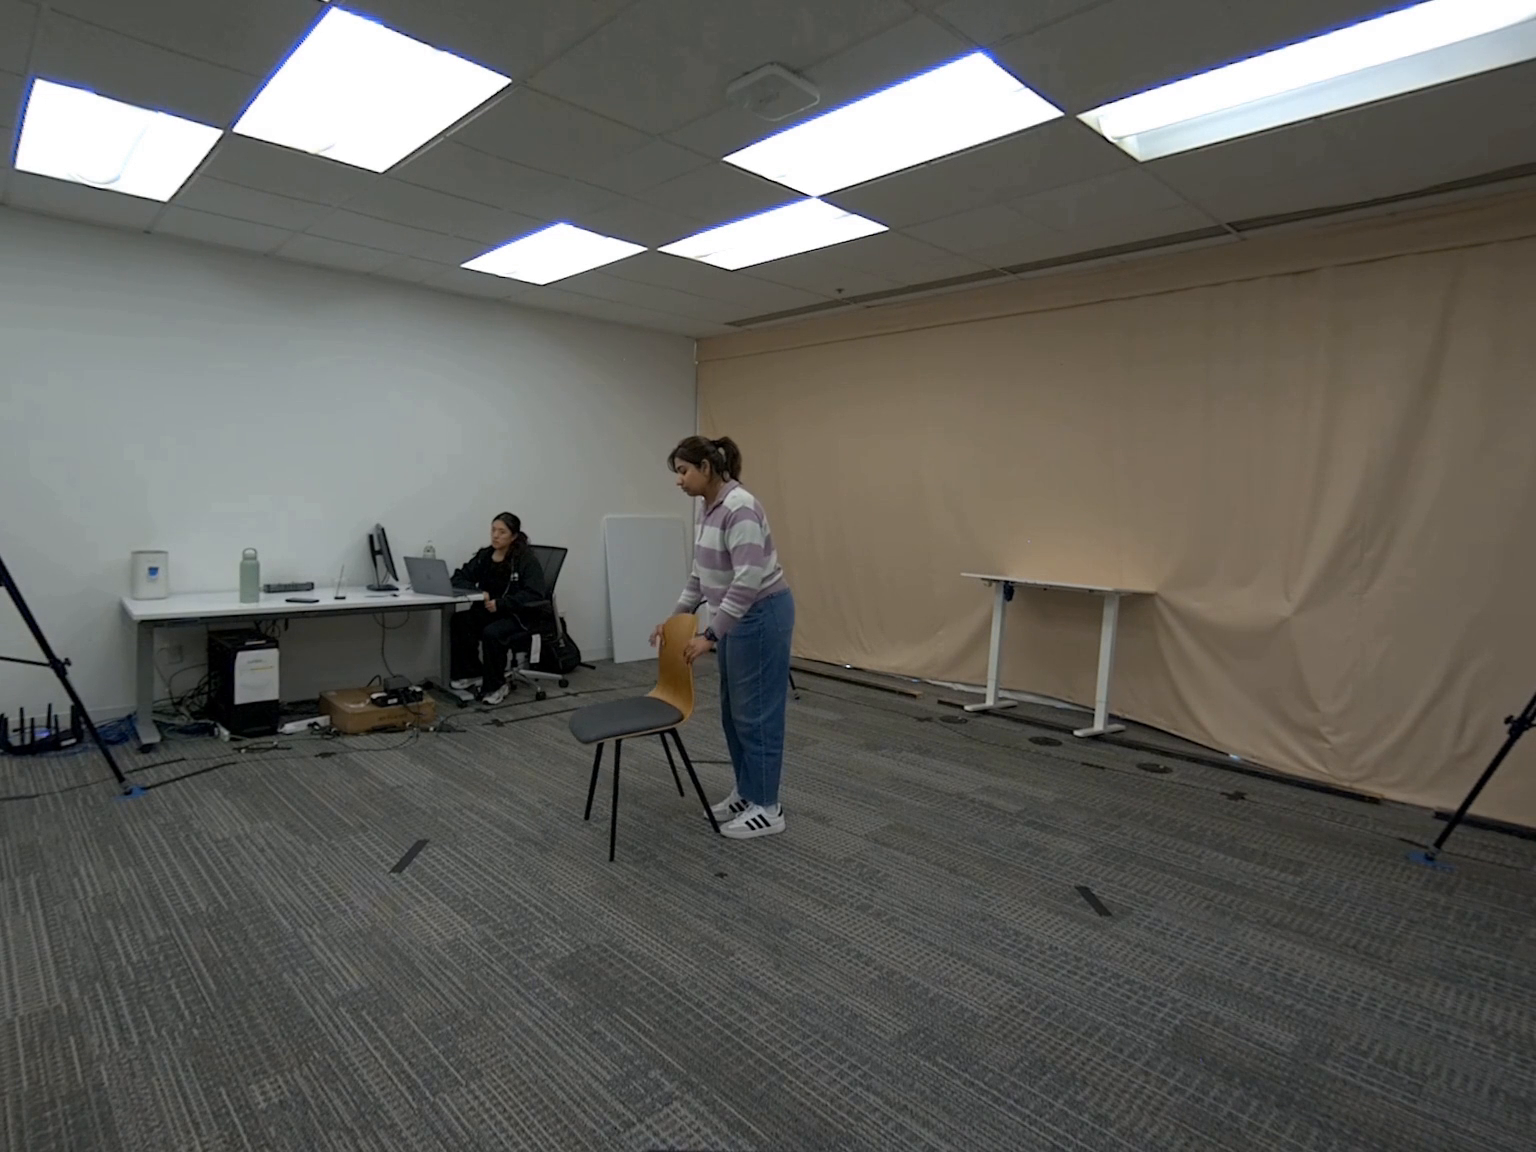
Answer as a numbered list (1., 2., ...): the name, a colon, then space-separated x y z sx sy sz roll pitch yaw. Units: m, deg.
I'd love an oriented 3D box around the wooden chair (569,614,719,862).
1. wooden chair: -0.542 0.618 3.420 0.515 0.874 0.487 -3 5 -23
